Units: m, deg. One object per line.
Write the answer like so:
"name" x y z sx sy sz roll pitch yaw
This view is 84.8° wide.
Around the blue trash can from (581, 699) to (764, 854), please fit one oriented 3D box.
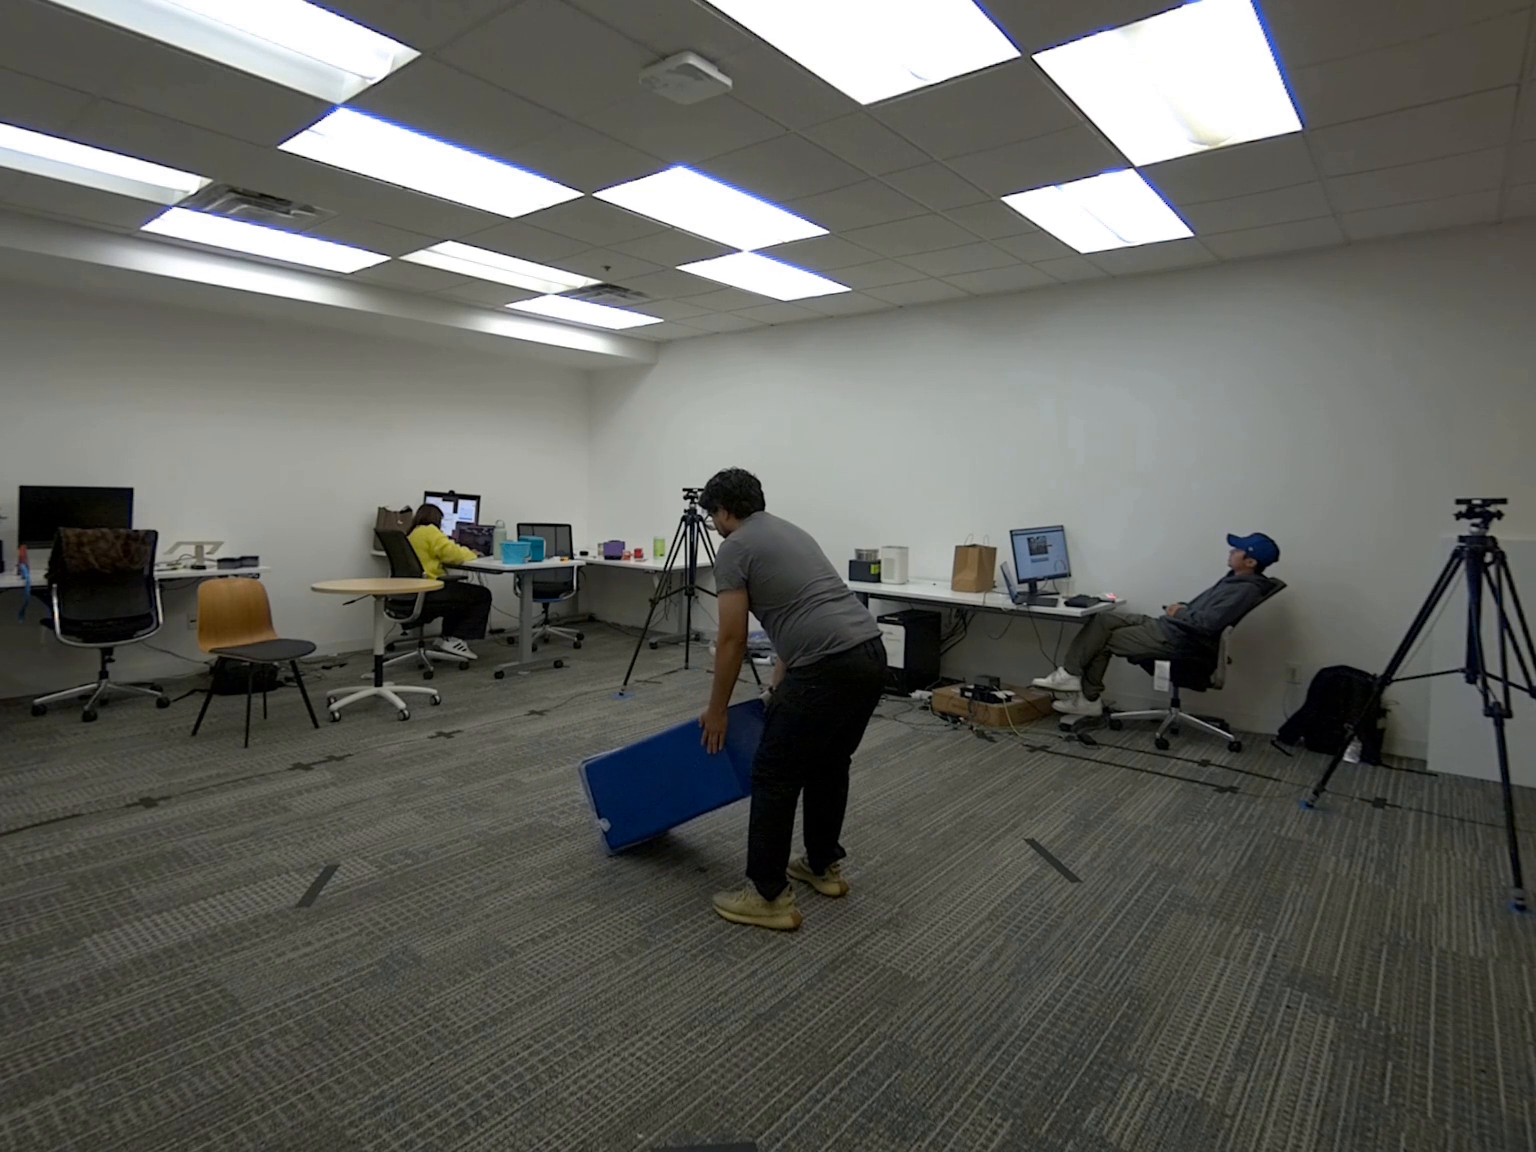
"blue trash can" -0.319 0.737 3.181 0.722 0.385 0.363 -30 -16 33
